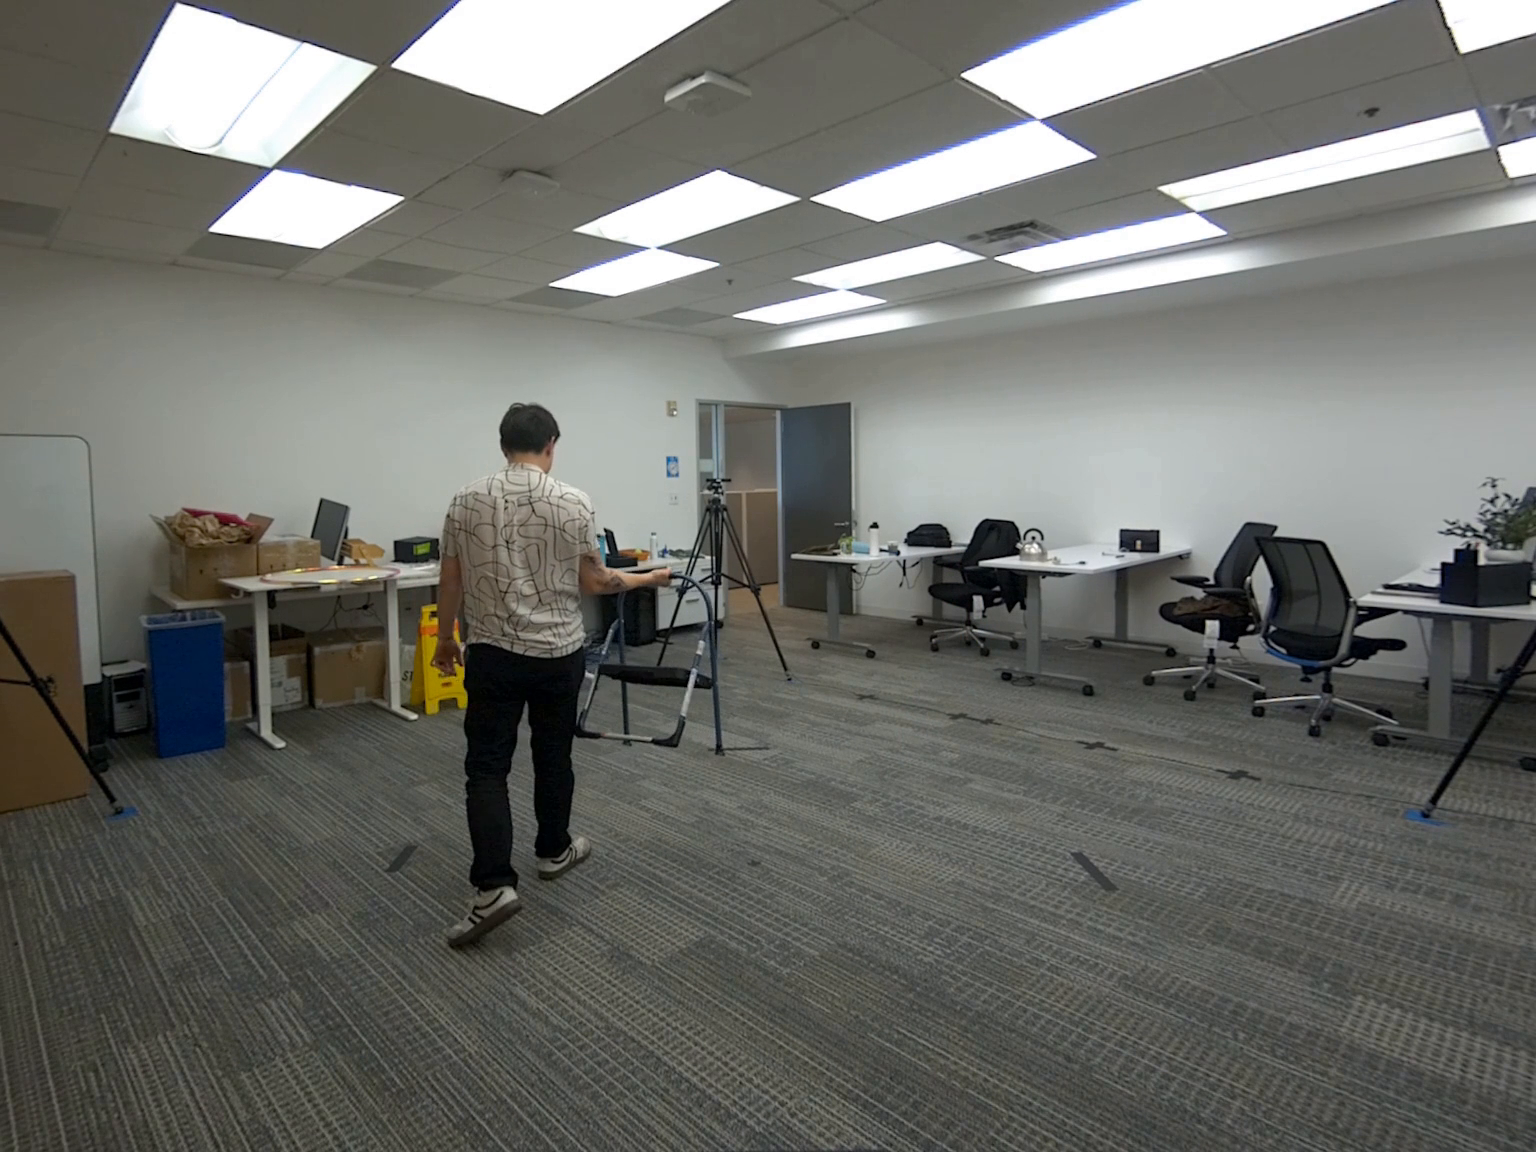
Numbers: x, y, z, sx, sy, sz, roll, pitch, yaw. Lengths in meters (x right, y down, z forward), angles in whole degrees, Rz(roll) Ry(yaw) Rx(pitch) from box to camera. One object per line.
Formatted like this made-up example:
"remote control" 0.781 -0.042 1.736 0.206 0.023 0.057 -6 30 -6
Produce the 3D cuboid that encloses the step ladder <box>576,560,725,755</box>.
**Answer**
"step ladder" -0.385 0.303 3.076 0.440 0.613 0.337 -2 -16 26
